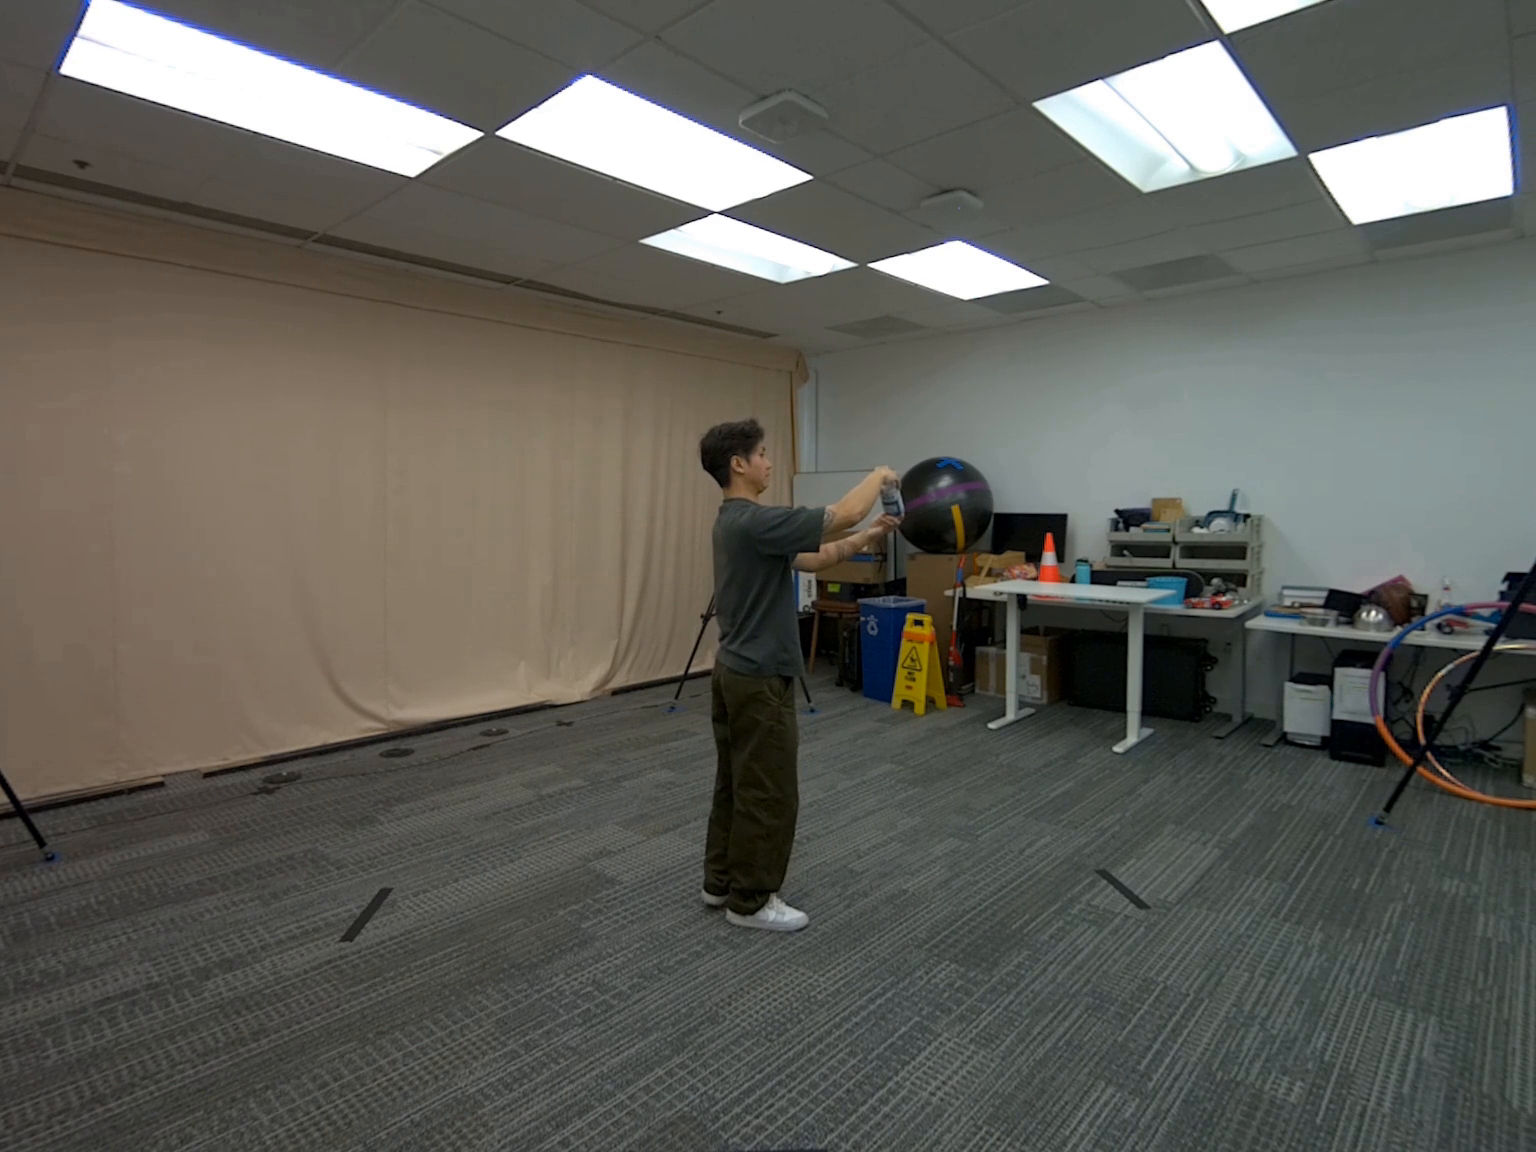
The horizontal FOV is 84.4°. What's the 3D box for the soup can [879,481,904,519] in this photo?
[{"bbox_3d":[0.419,-0.265,2.826,0.067,0.119,0.068,-12,30,6],"label":"soup can"}]
